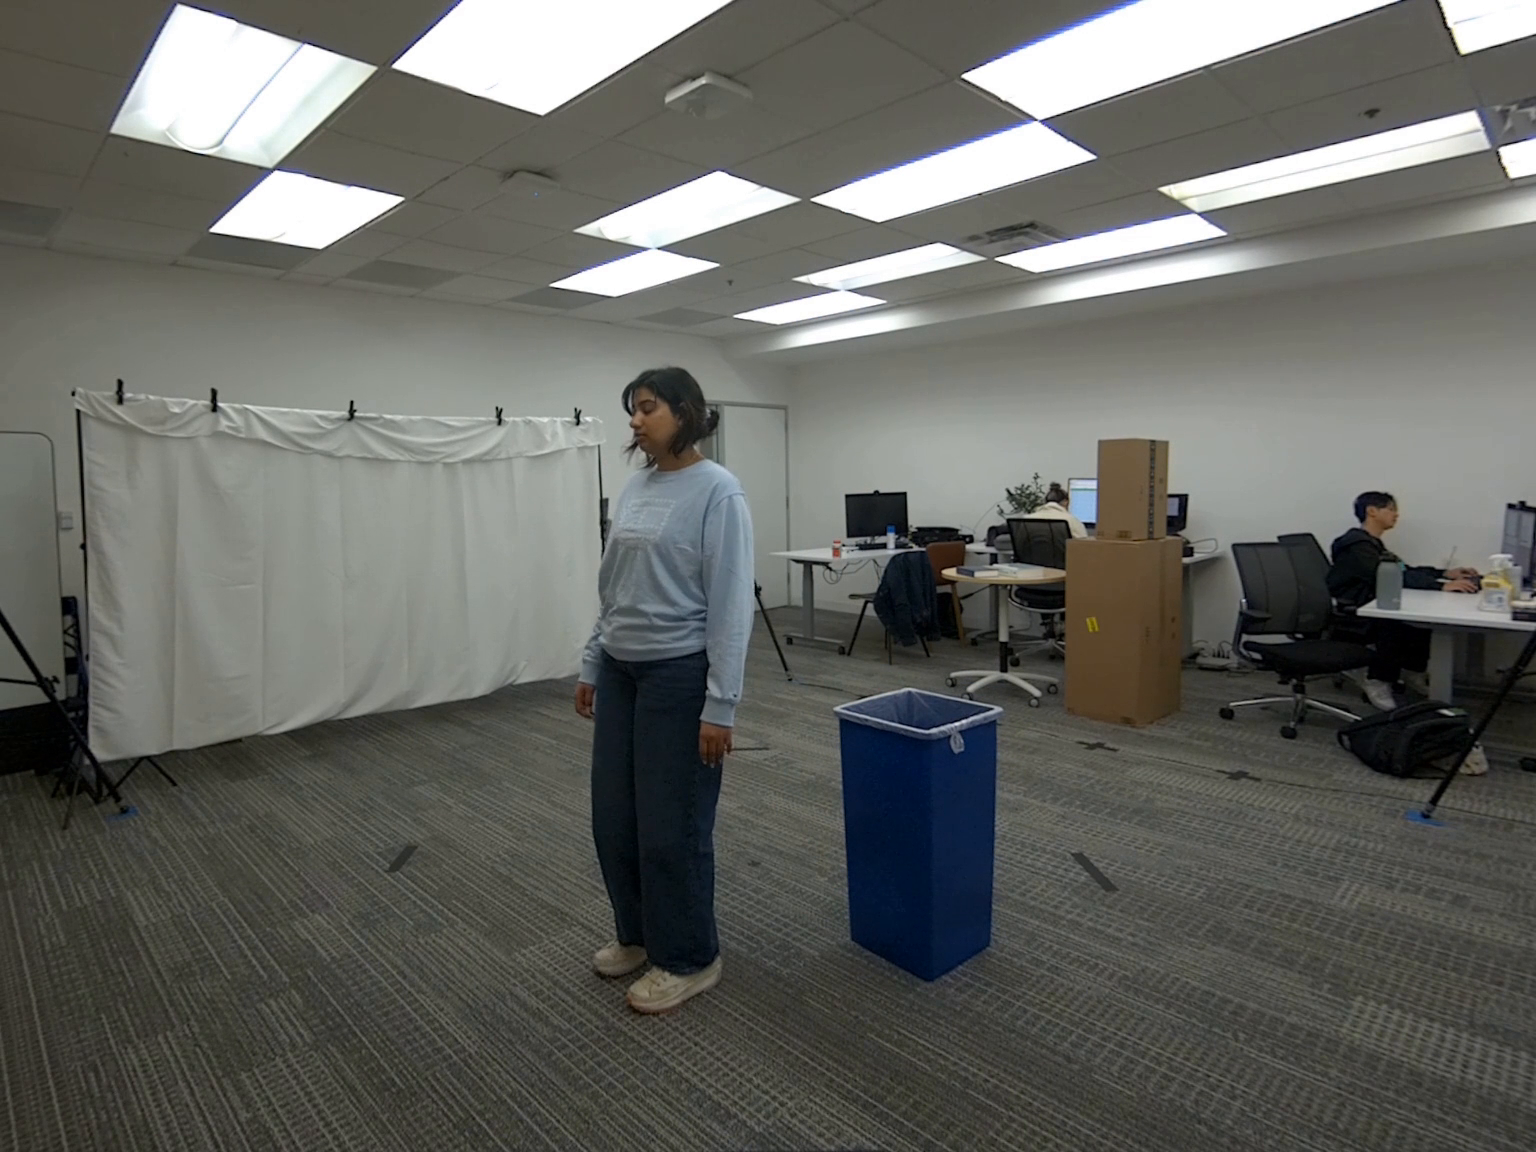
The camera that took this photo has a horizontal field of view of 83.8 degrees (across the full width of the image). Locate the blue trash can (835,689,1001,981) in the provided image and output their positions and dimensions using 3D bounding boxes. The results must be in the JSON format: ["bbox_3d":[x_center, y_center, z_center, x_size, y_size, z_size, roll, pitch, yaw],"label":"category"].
[{"bbox_3d":[0.447,0.744,2.549,0.368,0.711,0.385,-4,5,-41],"label":"blue trash can"}]
